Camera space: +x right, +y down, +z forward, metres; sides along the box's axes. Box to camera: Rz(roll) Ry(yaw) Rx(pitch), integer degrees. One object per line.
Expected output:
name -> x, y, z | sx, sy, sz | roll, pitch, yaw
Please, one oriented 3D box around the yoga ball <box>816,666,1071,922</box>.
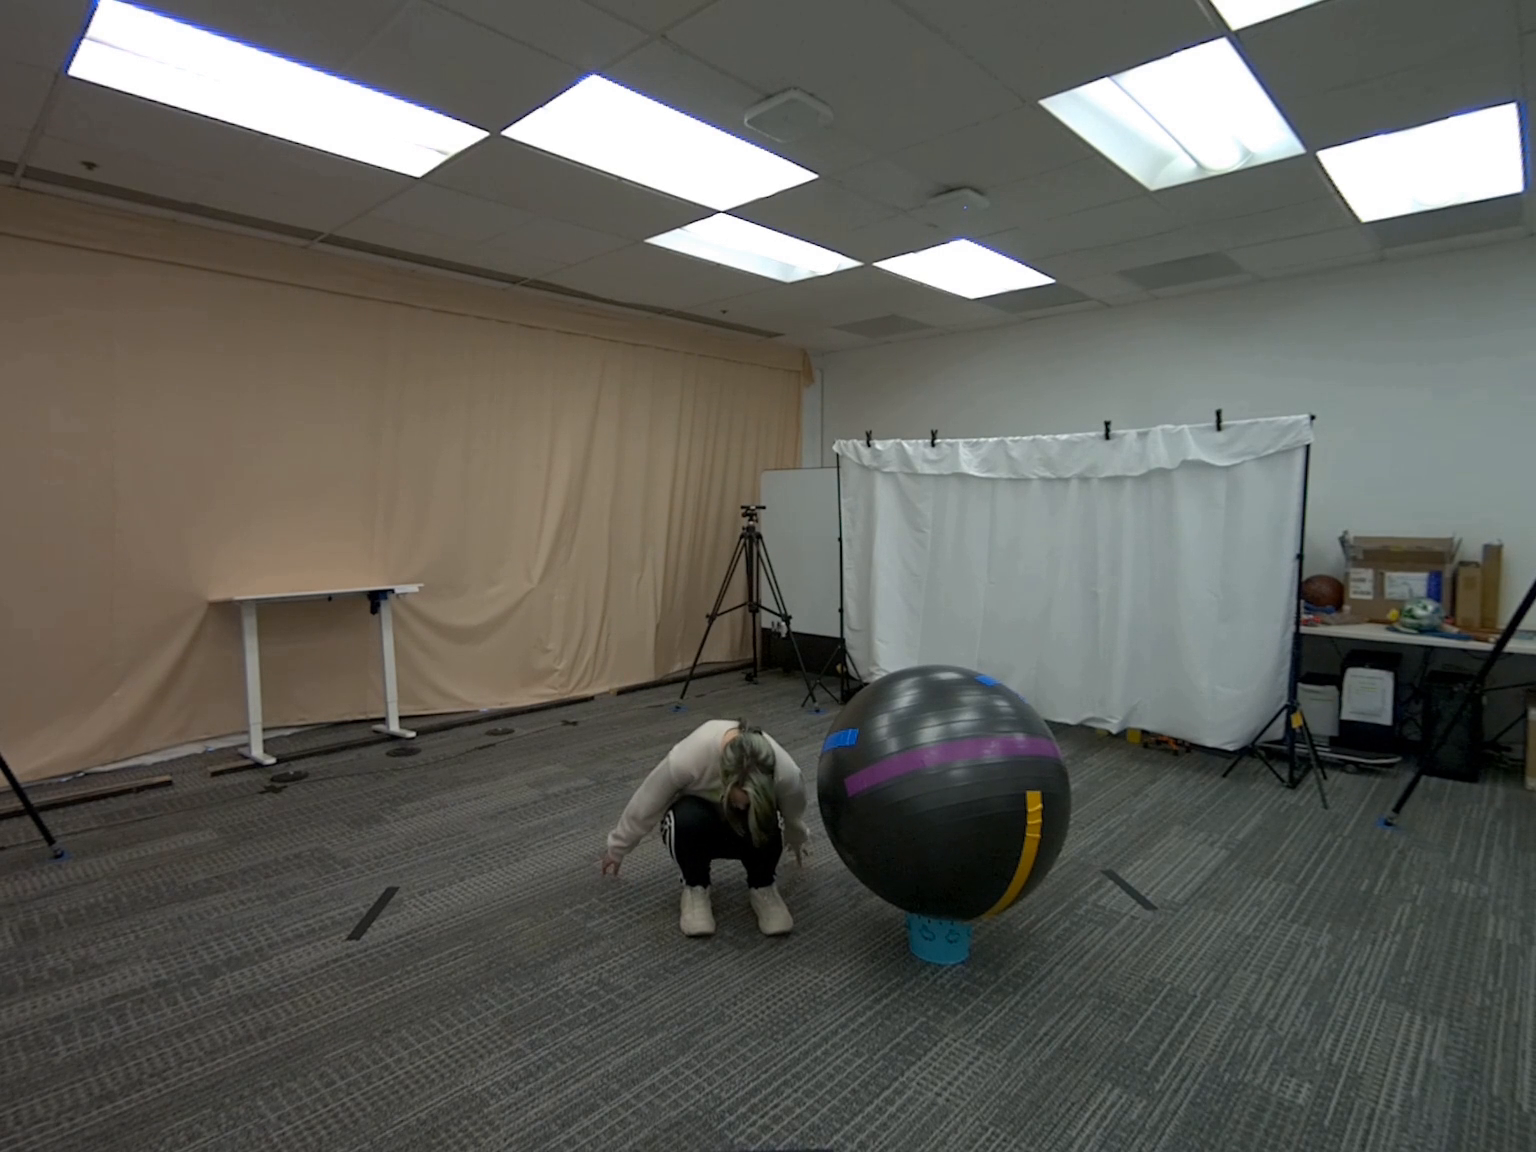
yoga ball -> 0.540, 0.666, 2.615 | 0.757, 0.756, 0.761 | 0, 4, -2
